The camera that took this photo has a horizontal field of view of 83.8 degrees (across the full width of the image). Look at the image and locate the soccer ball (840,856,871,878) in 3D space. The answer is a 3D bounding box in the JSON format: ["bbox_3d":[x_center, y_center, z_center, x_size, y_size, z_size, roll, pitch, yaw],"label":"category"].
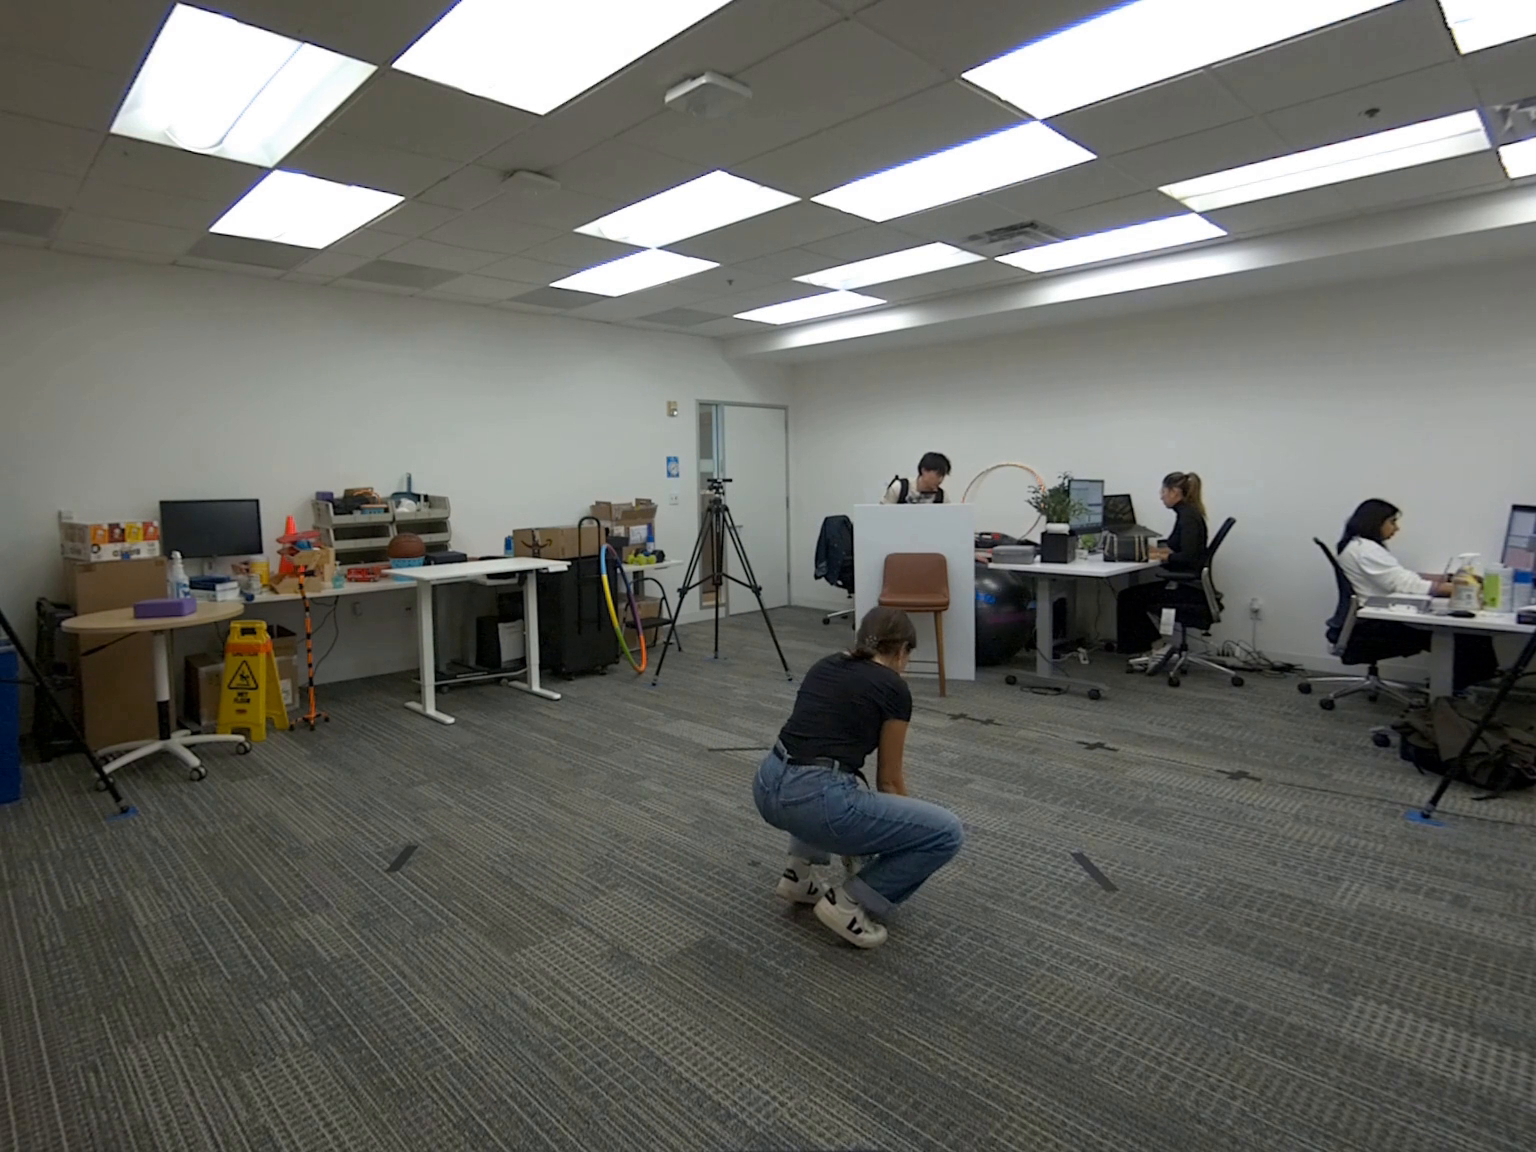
[{"bbox_3d":[0.357,0.932,2.758,0.187,0.187,0.188,-1,5,-2],"label":"soccer ball"}]
